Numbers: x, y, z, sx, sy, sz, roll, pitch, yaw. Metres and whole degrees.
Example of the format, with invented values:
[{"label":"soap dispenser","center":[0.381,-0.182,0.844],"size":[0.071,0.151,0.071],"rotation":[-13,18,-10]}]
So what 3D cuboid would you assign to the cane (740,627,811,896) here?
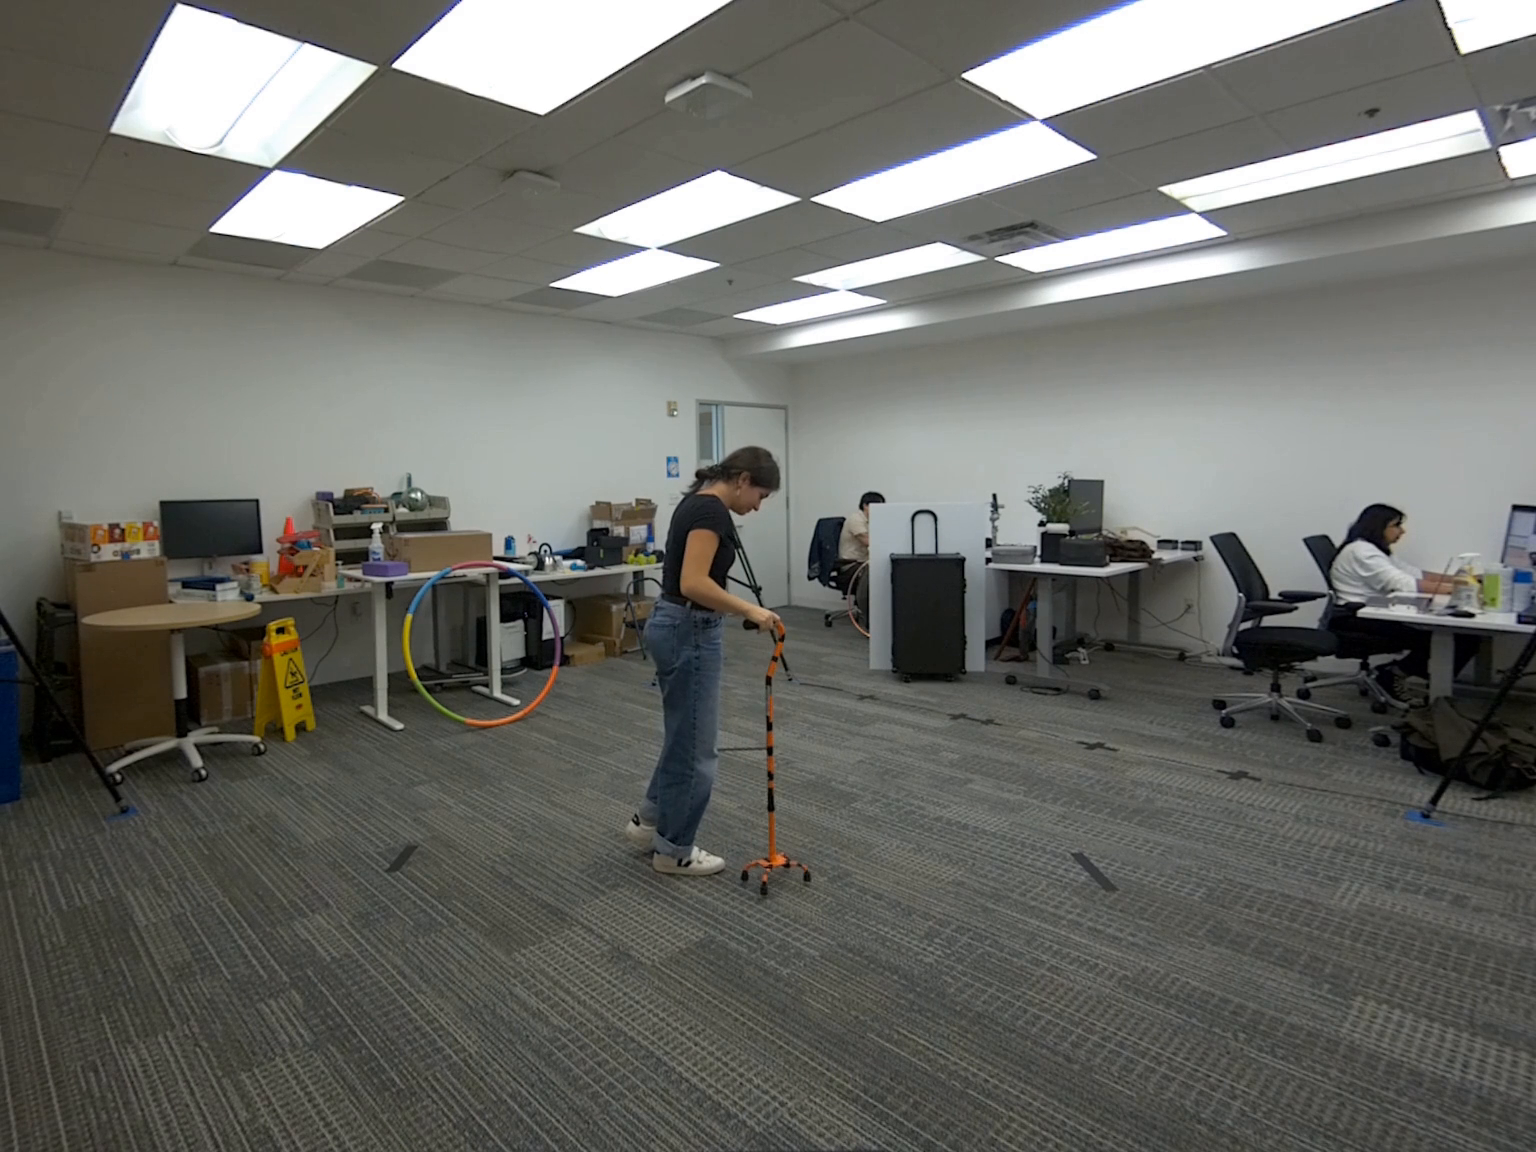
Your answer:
[{"label":"cane","center":[0.022,0.595,2.911],"size":[0.201,0.905,0.156],"rotation":[-3,4,-31]}]
